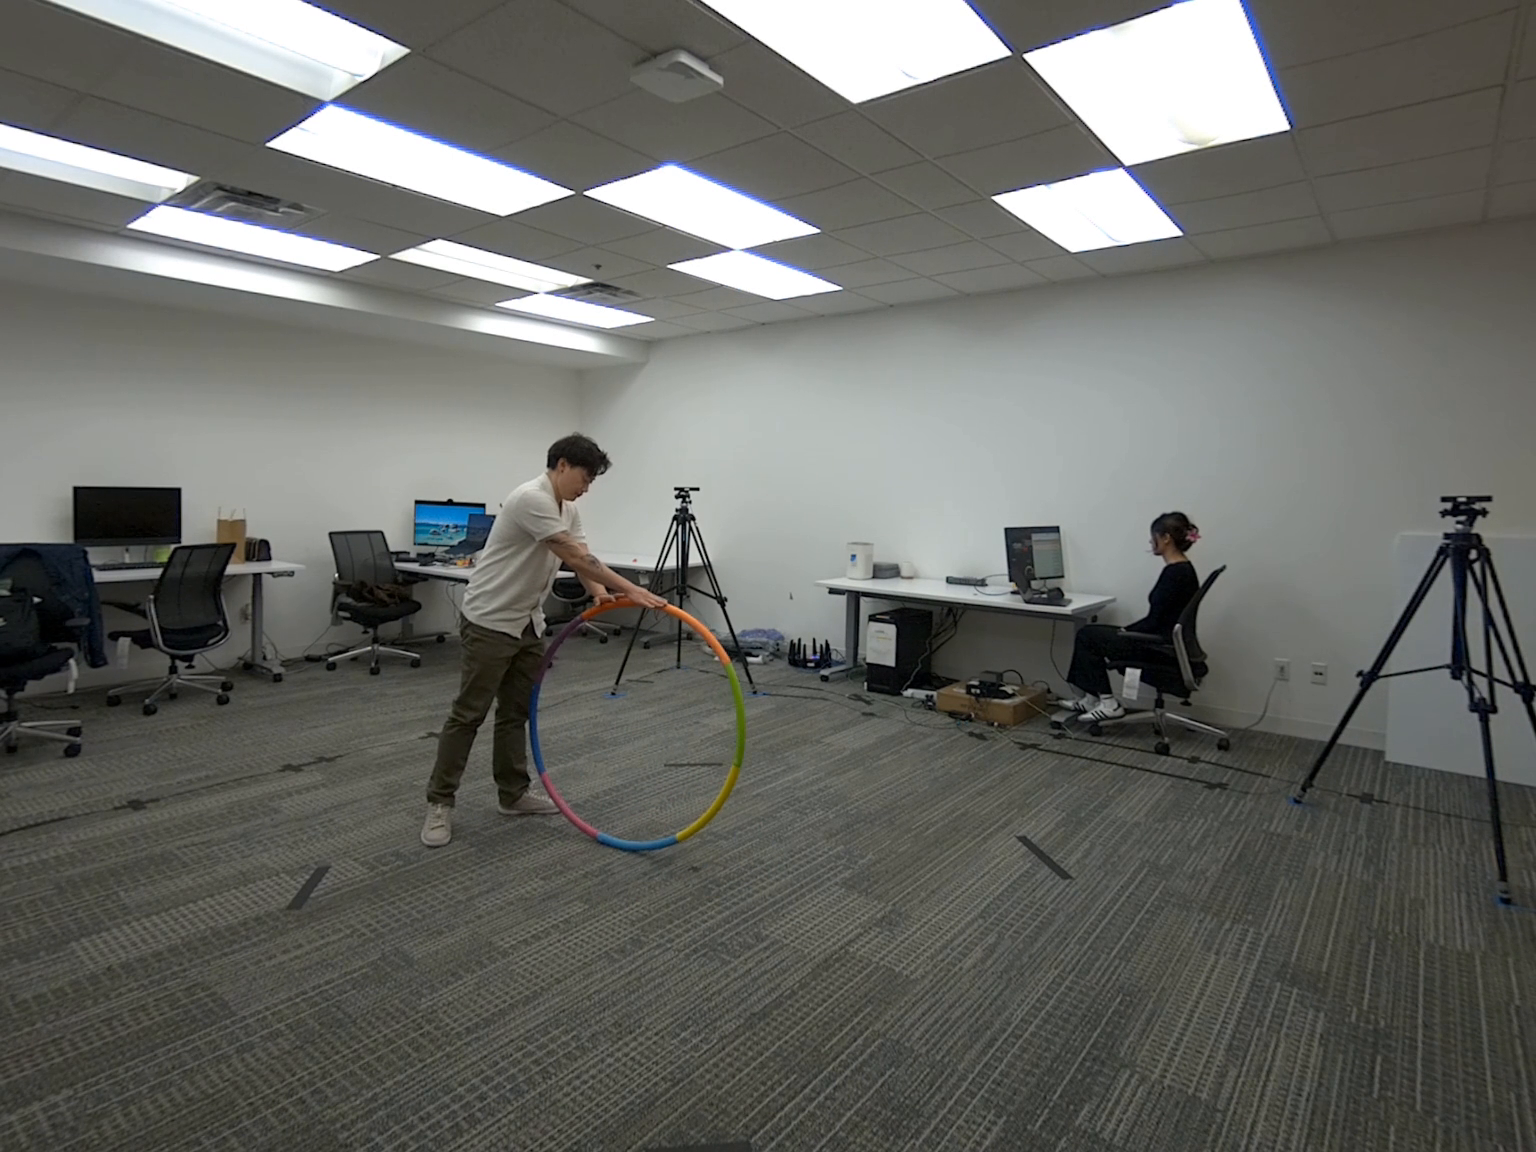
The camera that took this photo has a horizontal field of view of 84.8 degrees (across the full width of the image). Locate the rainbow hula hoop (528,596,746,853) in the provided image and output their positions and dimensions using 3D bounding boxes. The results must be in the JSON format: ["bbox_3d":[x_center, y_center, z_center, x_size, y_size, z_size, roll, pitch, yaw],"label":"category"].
[{"bbox_3d":[-0.552,0.566,3.322,1.005,0.984,0.034,3,-7,27],"label":"rainbow hula hoop"}]
